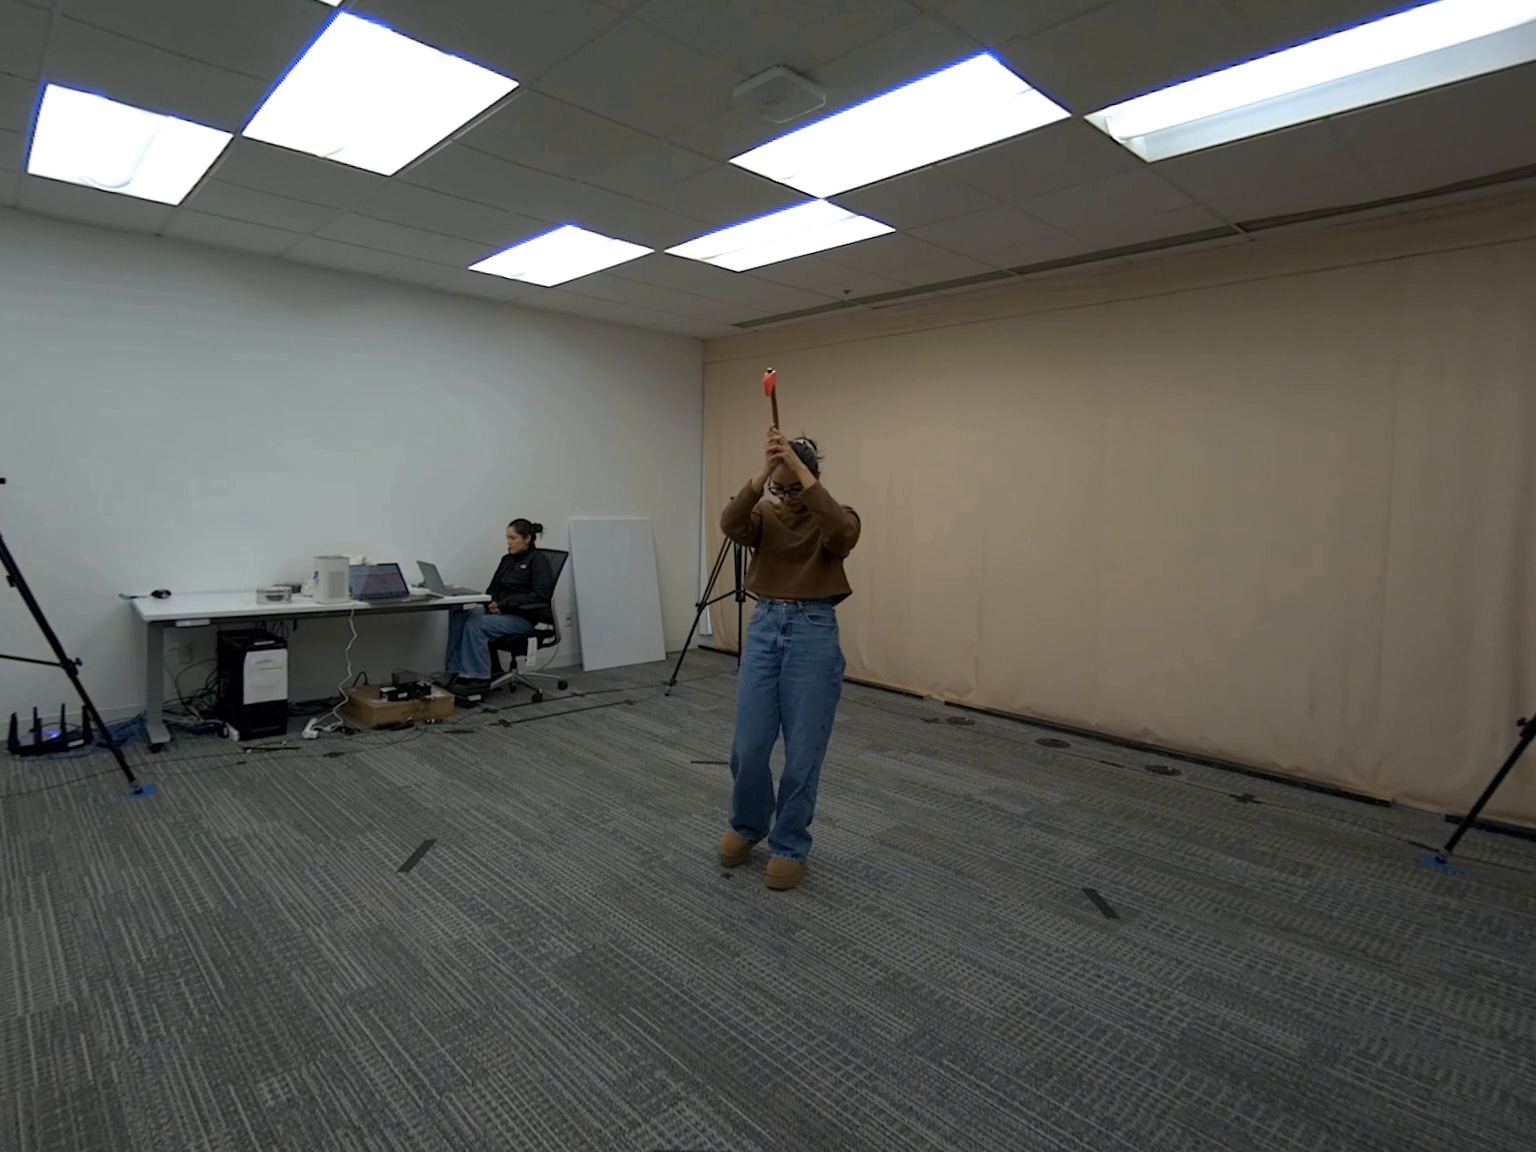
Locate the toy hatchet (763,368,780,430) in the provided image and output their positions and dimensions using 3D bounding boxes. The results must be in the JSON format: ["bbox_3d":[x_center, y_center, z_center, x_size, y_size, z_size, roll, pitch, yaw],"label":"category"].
[{"bbox_3d":[0.006,-0.569,2.843,0.030,0.268,0.130,-2,7,16],"label":"toy hatchet"}]
